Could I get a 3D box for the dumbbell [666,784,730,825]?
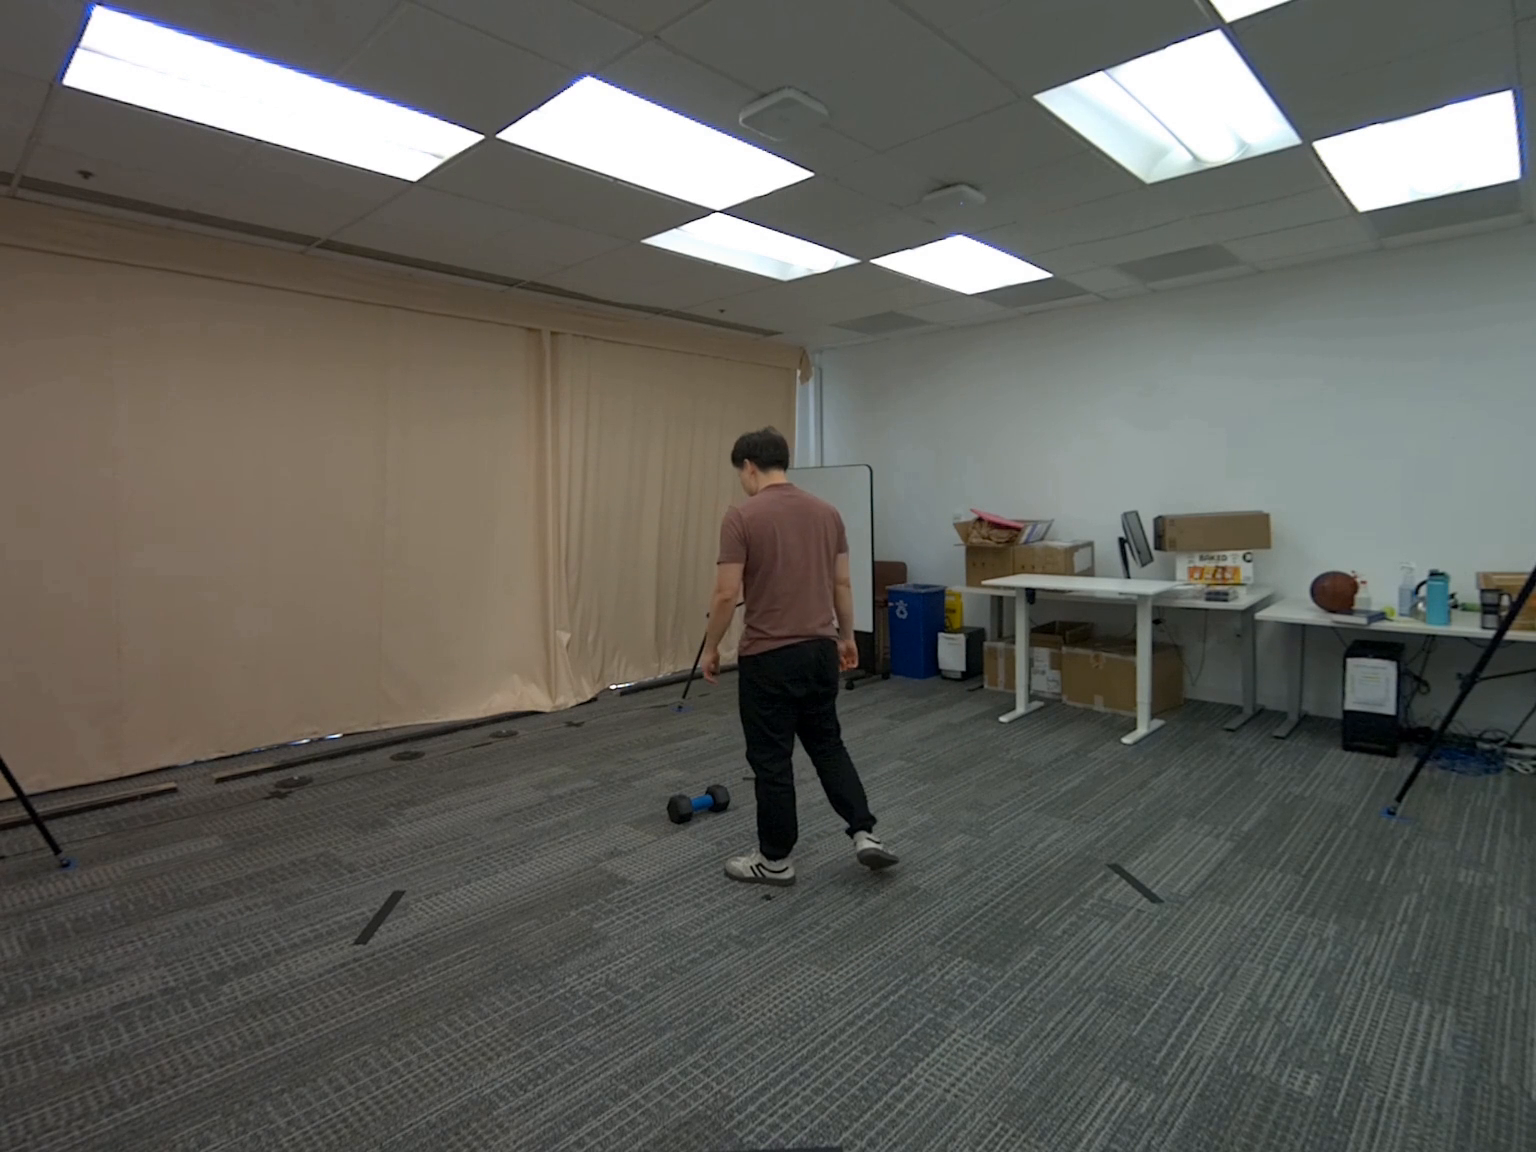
[{"bbox_3d":[-0.311,1.024,3.791,0.285,0.108,0.127,-5,5,-40],"label":"dumbbell"}]
